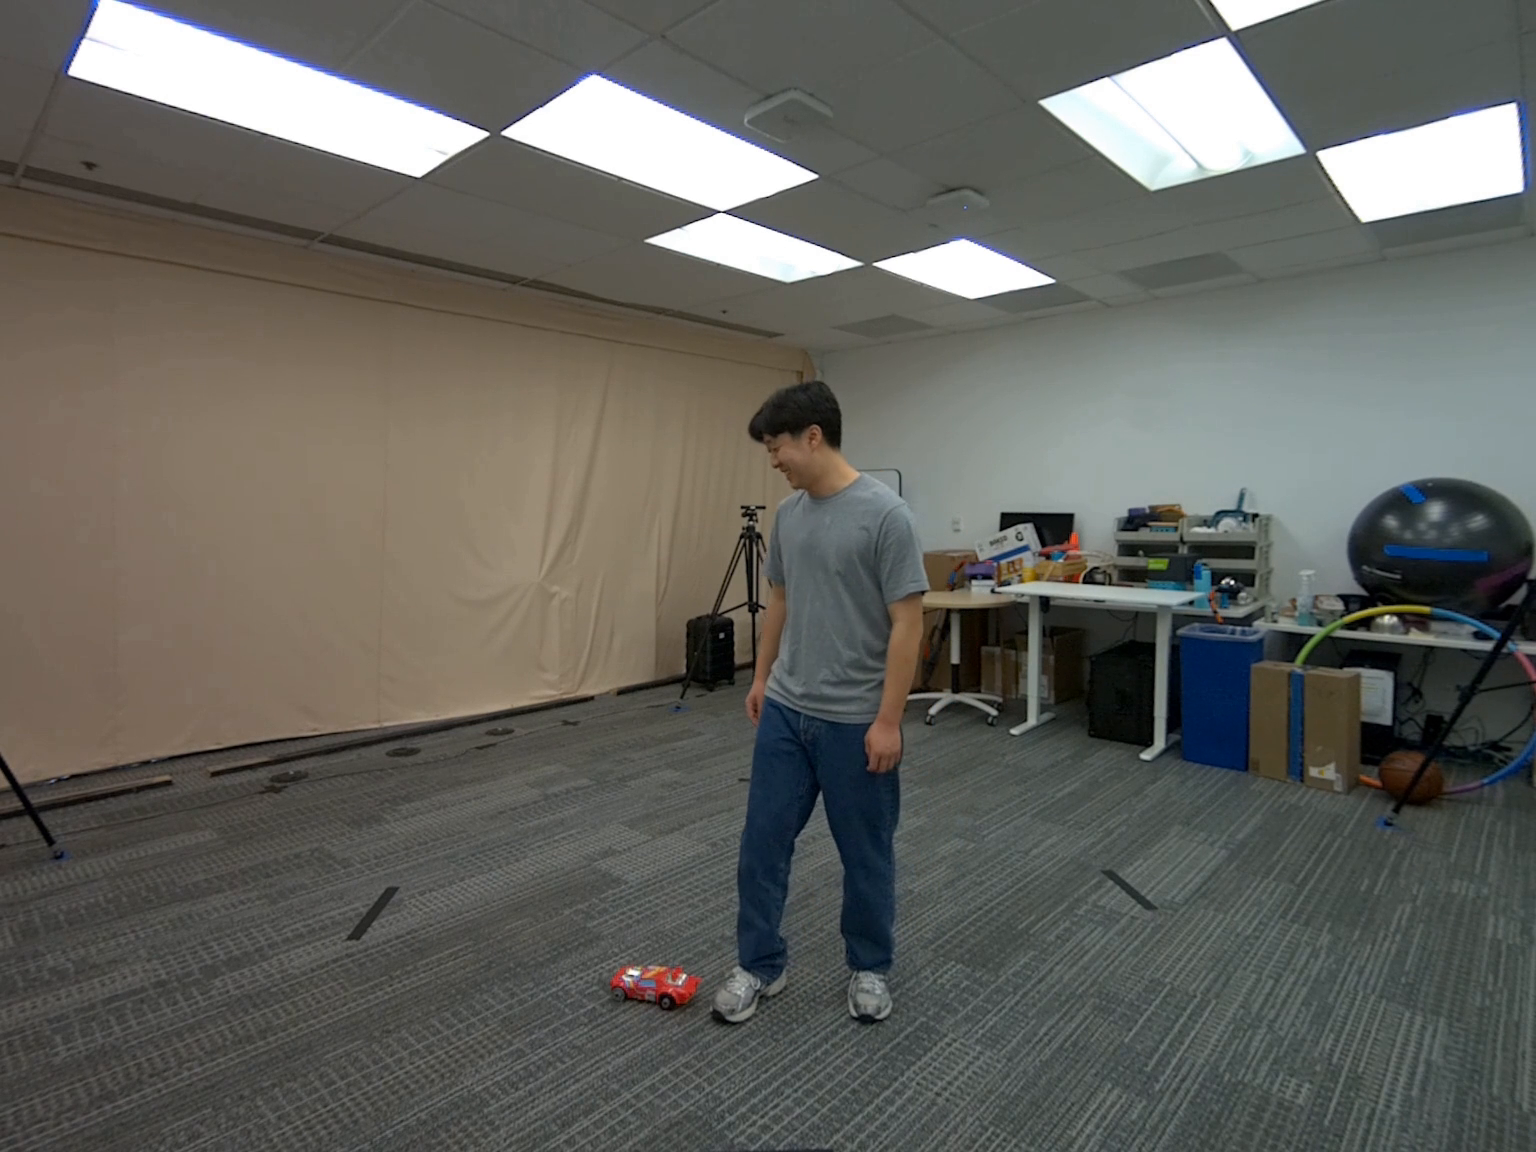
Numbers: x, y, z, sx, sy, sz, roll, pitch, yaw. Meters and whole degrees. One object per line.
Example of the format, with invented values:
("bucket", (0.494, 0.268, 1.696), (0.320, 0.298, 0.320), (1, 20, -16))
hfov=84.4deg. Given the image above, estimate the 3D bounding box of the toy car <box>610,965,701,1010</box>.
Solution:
("toy car", (-0.314, 1.168, 2.381), (0.259, 0.083, 0.128), (-10, 2, 18))
